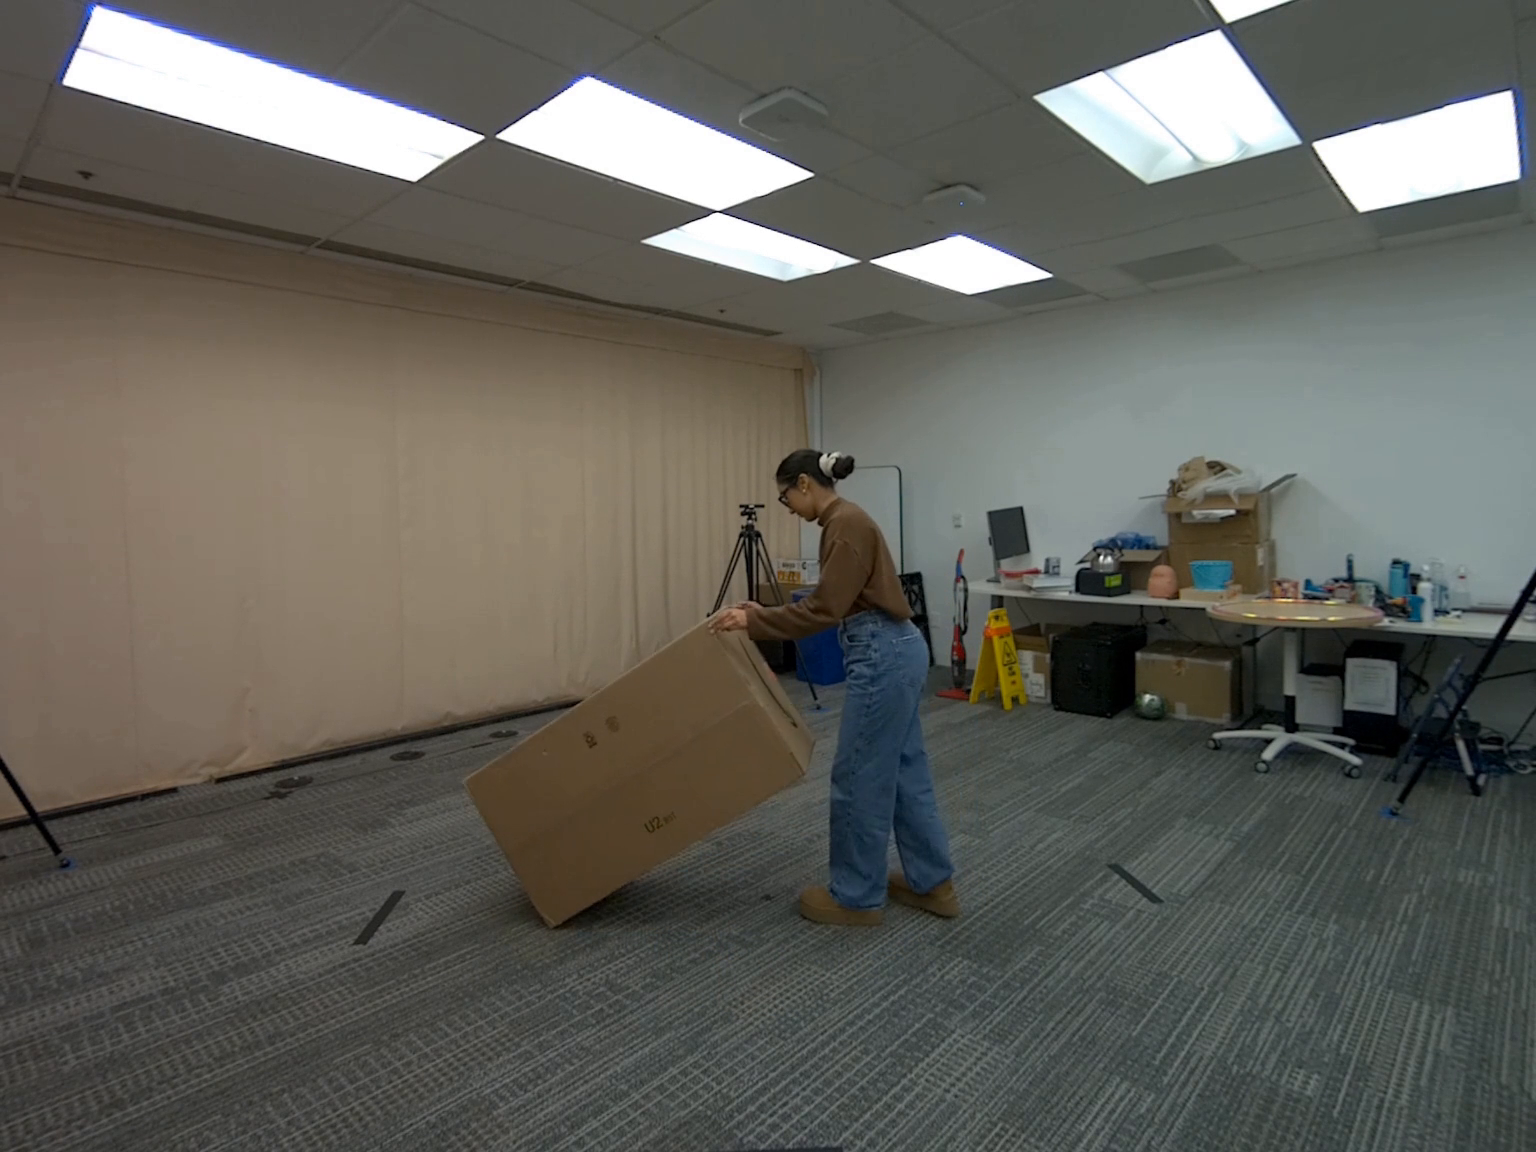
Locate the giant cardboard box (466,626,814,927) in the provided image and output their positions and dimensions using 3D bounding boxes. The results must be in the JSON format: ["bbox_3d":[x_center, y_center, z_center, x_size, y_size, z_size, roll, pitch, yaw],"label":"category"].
[{"bbox_3d":[-0.429,0.644,2.928,1.031,0.580,0.422,-33,-3,10],"label":"giant cardboard box"}]
